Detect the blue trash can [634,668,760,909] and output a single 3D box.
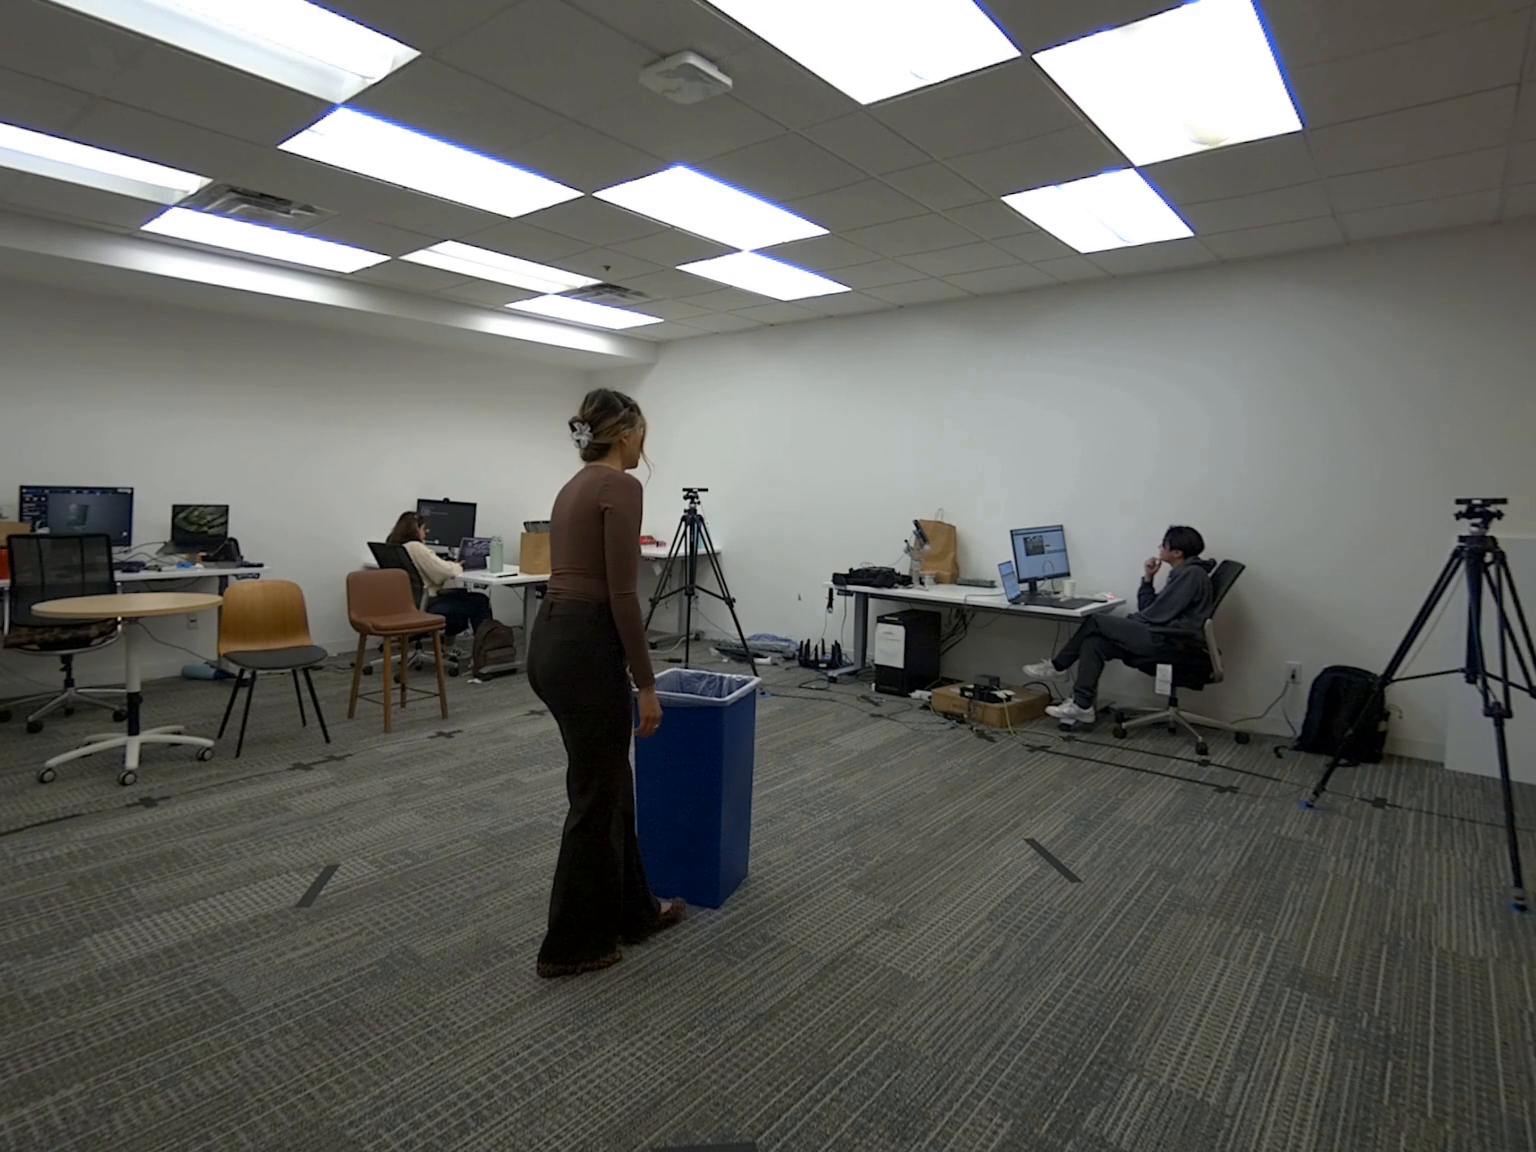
[{"bbox_3d":[-0.260,0.722,2.976,0.387,0.712,0.366,2,3,21],"label":"blue trash can"}]
